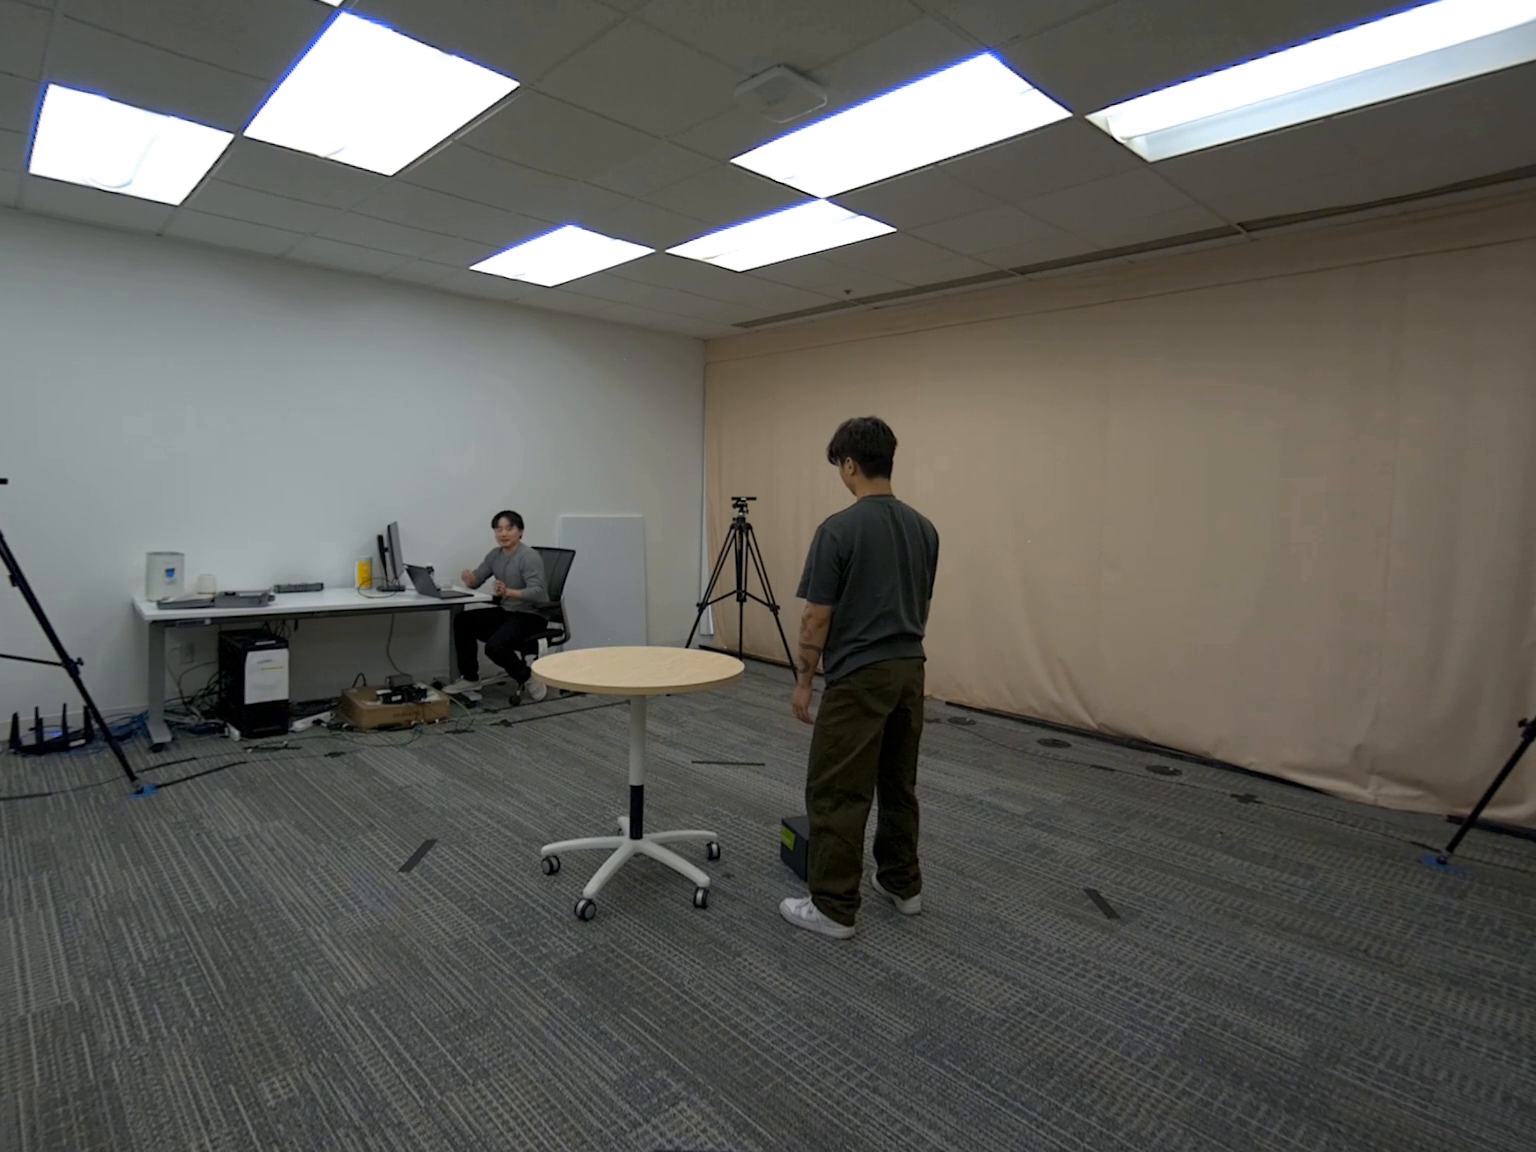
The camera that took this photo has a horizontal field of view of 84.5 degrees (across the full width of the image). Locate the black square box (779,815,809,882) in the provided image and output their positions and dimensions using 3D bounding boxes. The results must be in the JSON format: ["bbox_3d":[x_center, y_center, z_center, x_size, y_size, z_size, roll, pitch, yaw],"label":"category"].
[{"bbox_3d":[0.184,1.023,3.200,0.213,0.155,0.232,-1,5,-23],"label":"black square box"}]
